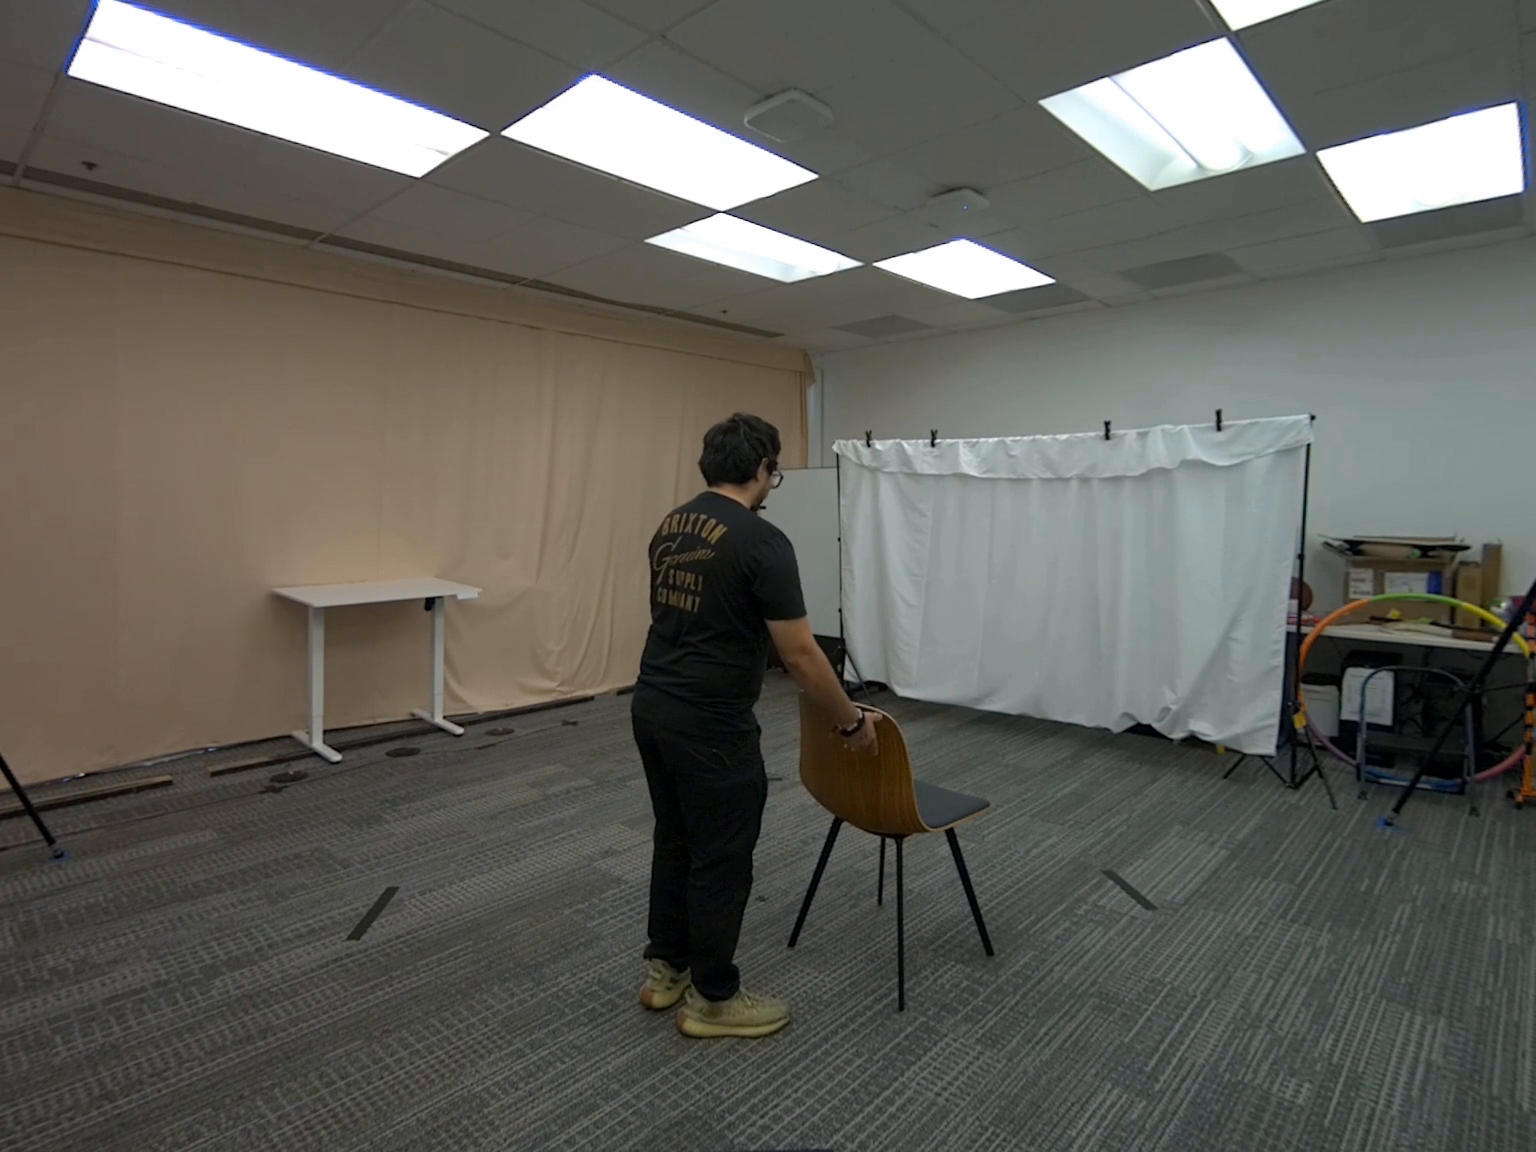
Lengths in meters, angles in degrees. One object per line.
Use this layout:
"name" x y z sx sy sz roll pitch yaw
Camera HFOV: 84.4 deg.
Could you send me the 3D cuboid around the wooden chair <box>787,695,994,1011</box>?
"wooden chair" 0.388 0.745 2.607 0.508 0.874 0.494 -9 8 -41
